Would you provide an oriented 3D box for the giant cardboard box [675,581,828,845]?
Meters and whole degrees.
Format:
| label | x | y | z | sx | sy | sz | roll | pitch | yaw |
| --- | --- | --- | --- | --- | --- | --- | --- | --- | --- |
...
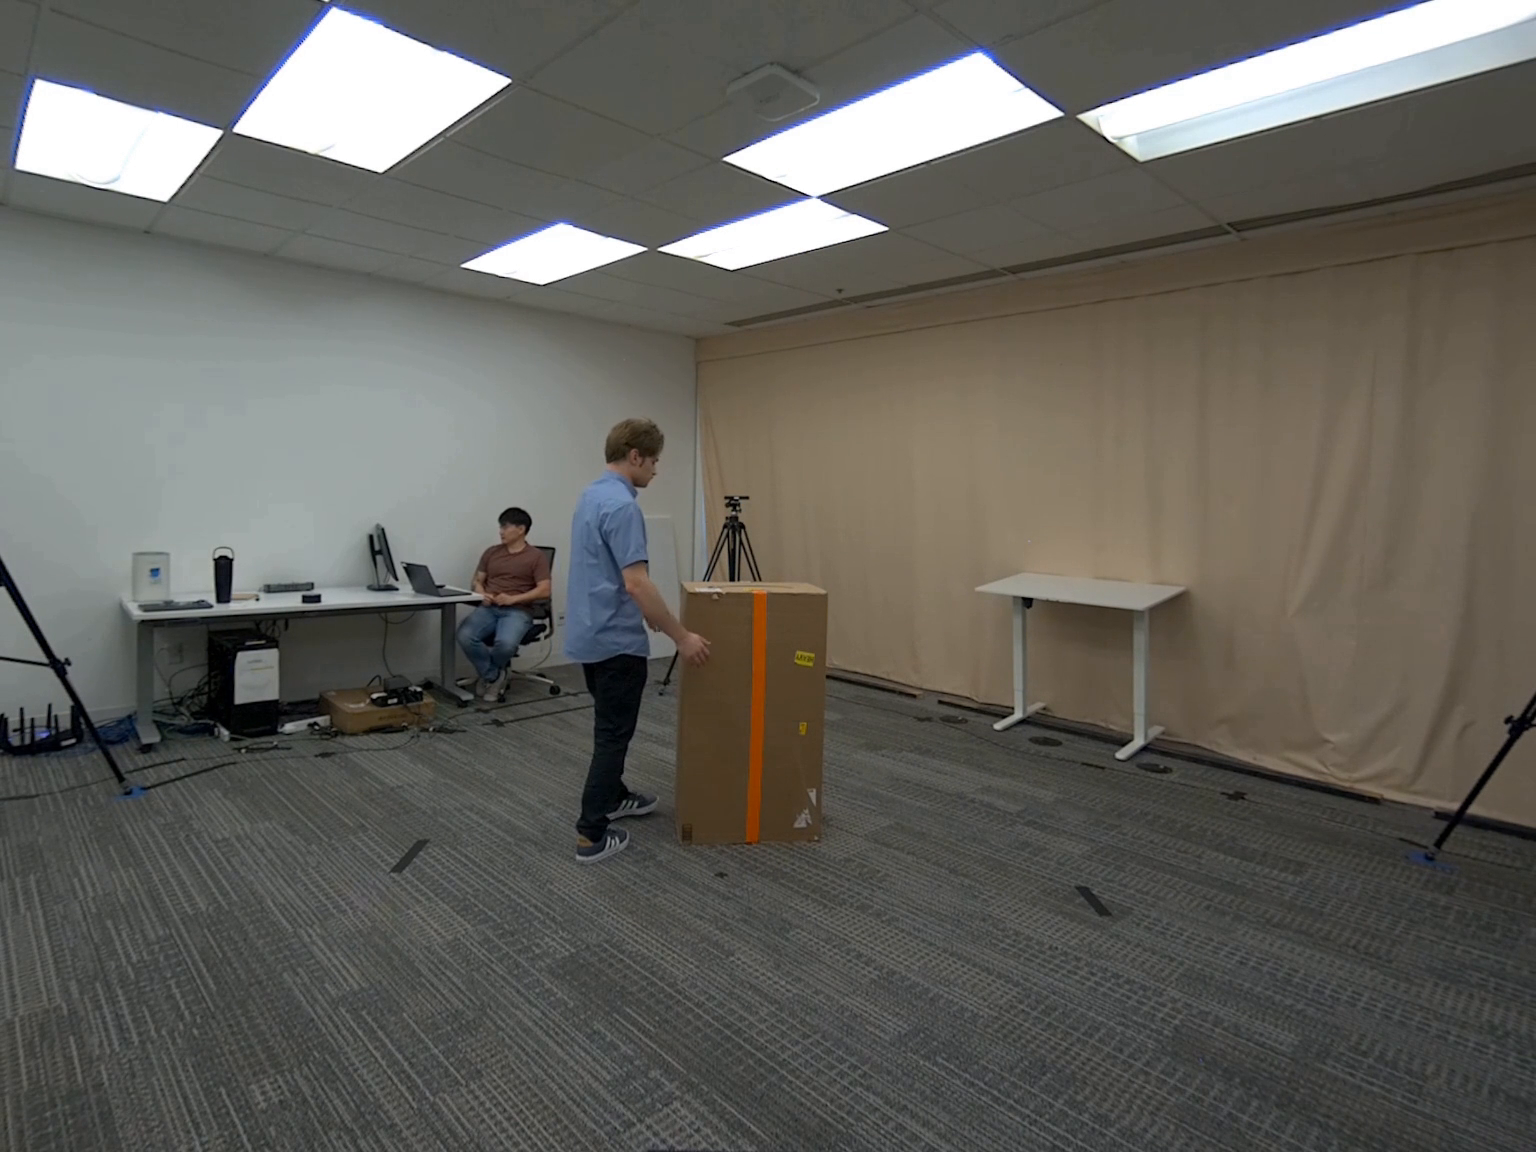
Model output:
| label | x | y | z | sx | sy | sz | roll | pitch | yaw |
| --- | --- | --- | --- | --- | --- | --- | --- | --- | --- |
| giant cardboard box | -0.091 | 0.553 | 3.577 | 0.581 | 1.024 | 0.450 | 2 | 3 | -7 |
